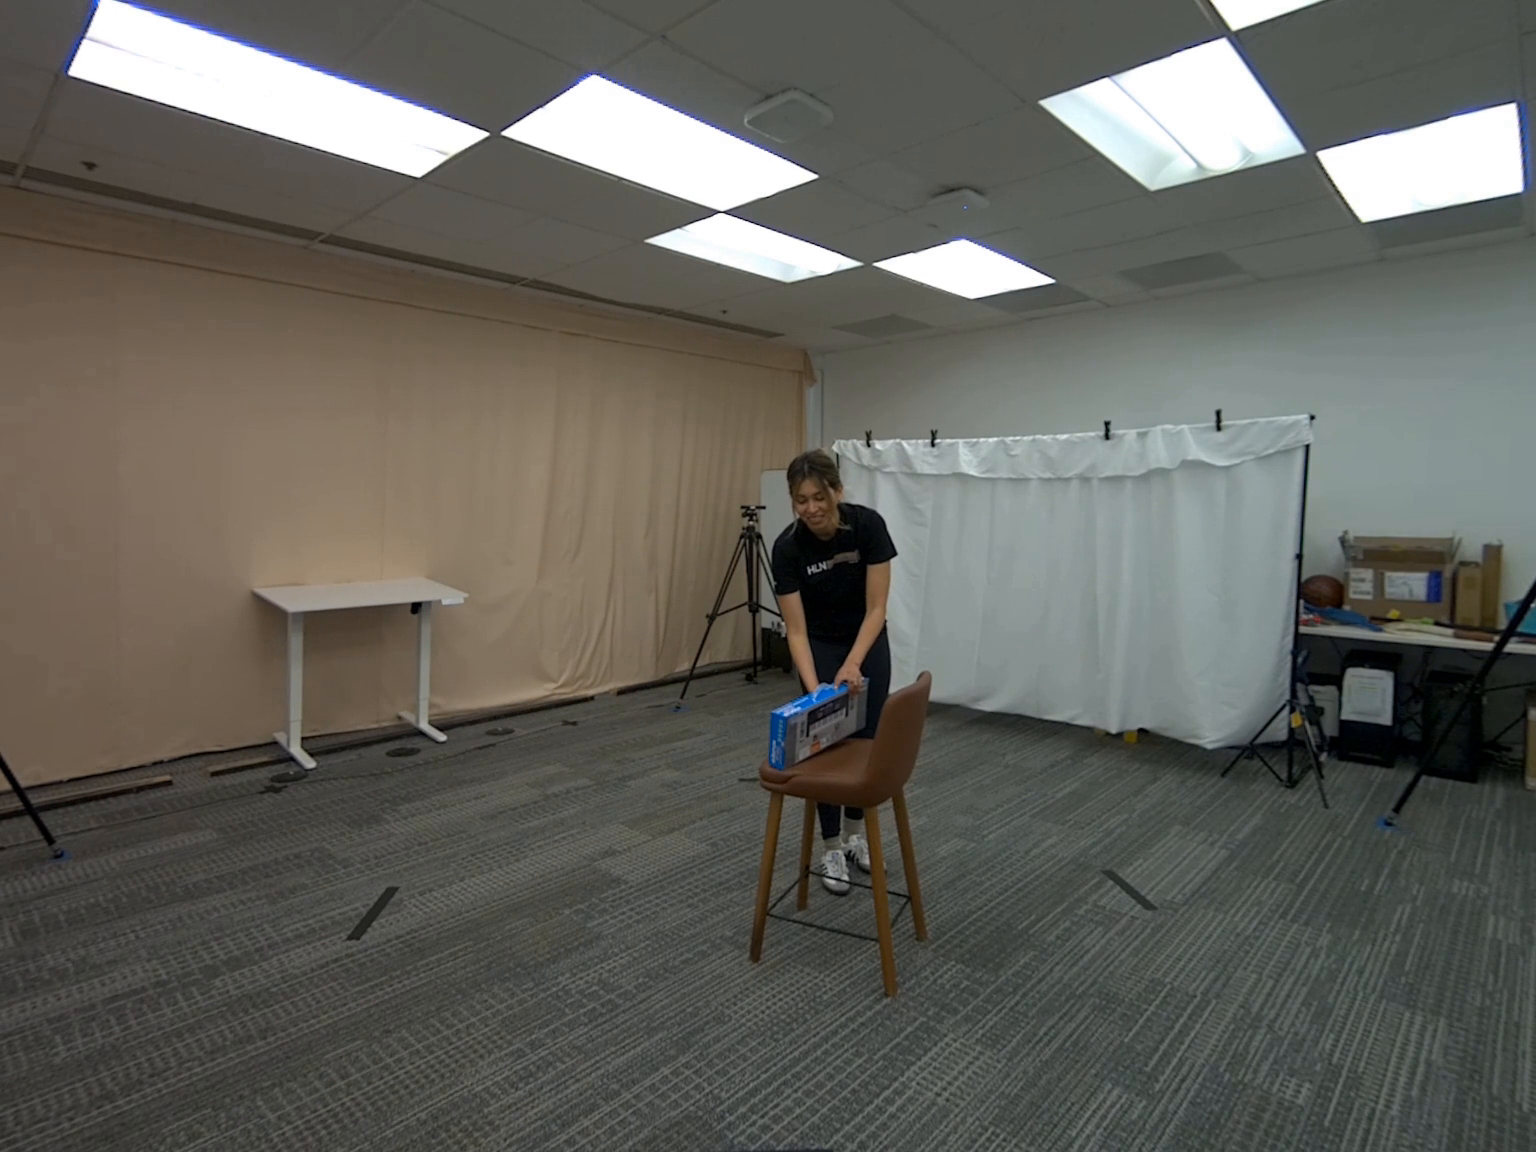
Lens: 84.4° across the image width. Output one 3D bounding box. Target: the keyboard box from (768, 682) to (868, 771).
[{"bbox_3d":[0.165,0.452,2.641,0.061,0.174,0.425,15,19,38],"label":"keyboard box"}]
